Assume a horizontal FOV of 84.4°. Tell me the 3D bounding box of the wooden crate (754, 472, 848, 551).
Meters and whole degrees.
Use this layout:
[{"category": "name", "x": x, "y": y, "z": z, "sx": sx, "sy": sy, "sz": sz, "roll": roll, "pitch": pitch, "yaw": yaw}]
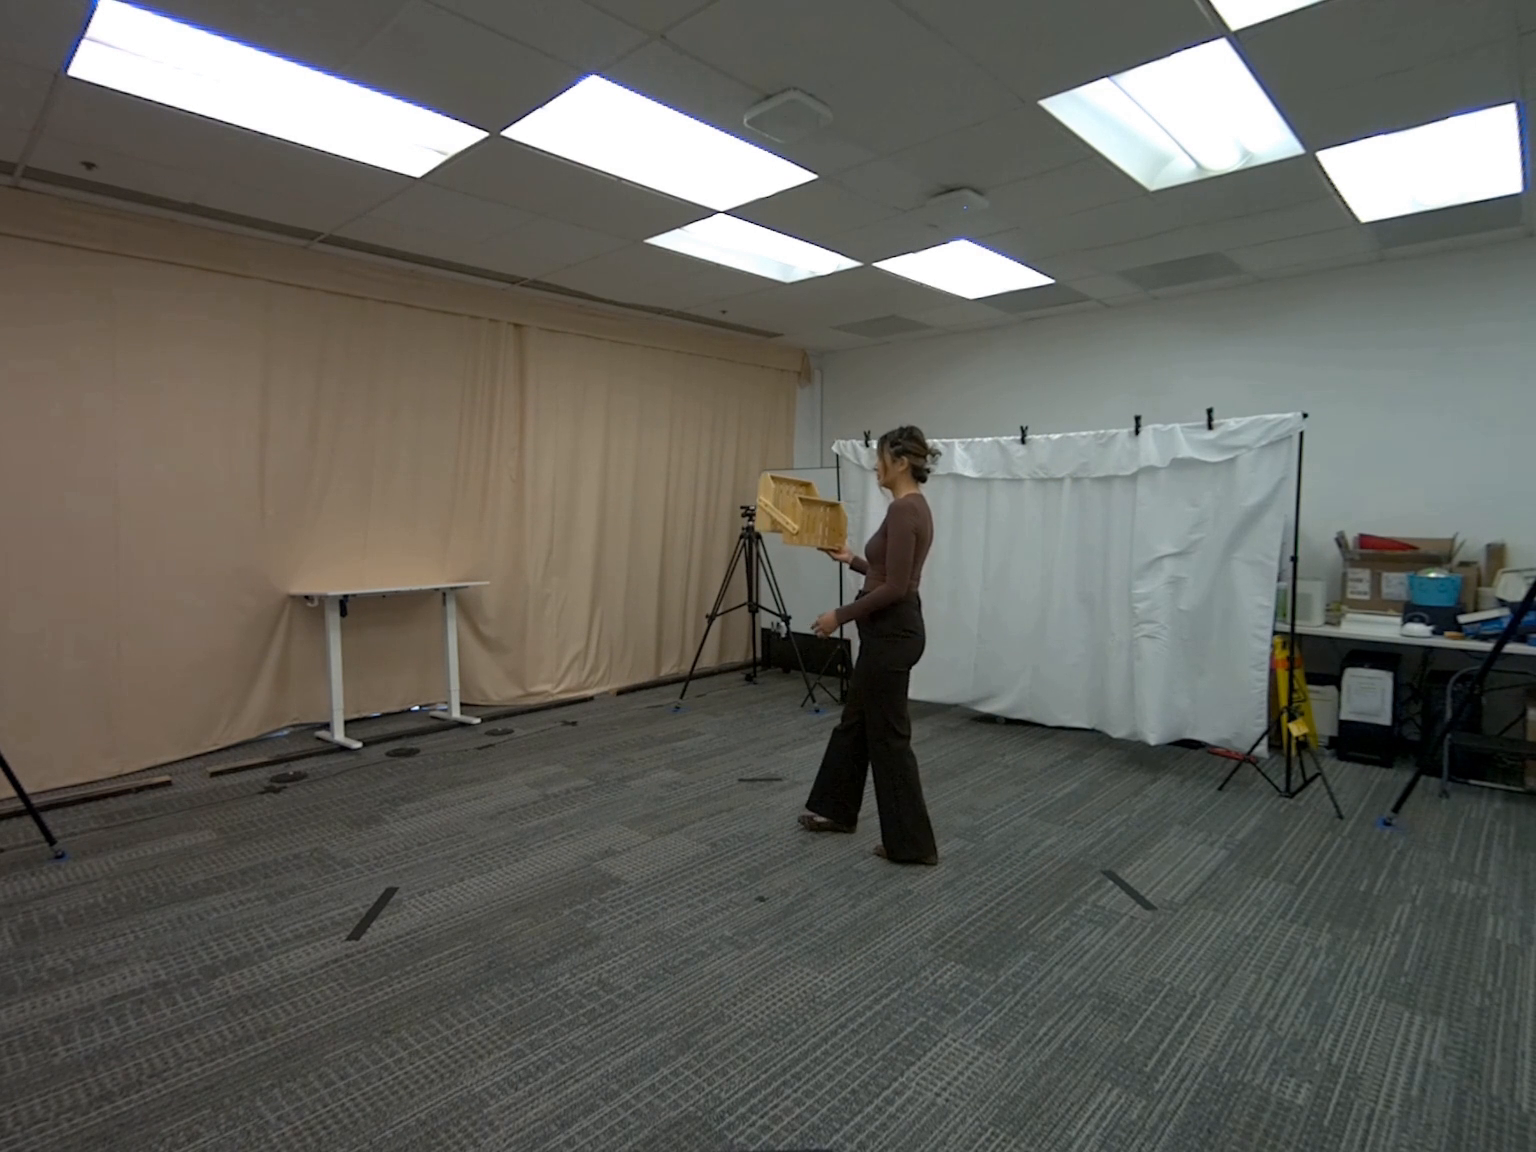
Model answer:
[{"category": "wooden crate", "x": 0.154, "y": -0.279, "z": 3.629, "sx": 0.314, "sy": 0.302, "sz": 0.282, "roll": 4, "pitch": 1, "yaw": -44}]
